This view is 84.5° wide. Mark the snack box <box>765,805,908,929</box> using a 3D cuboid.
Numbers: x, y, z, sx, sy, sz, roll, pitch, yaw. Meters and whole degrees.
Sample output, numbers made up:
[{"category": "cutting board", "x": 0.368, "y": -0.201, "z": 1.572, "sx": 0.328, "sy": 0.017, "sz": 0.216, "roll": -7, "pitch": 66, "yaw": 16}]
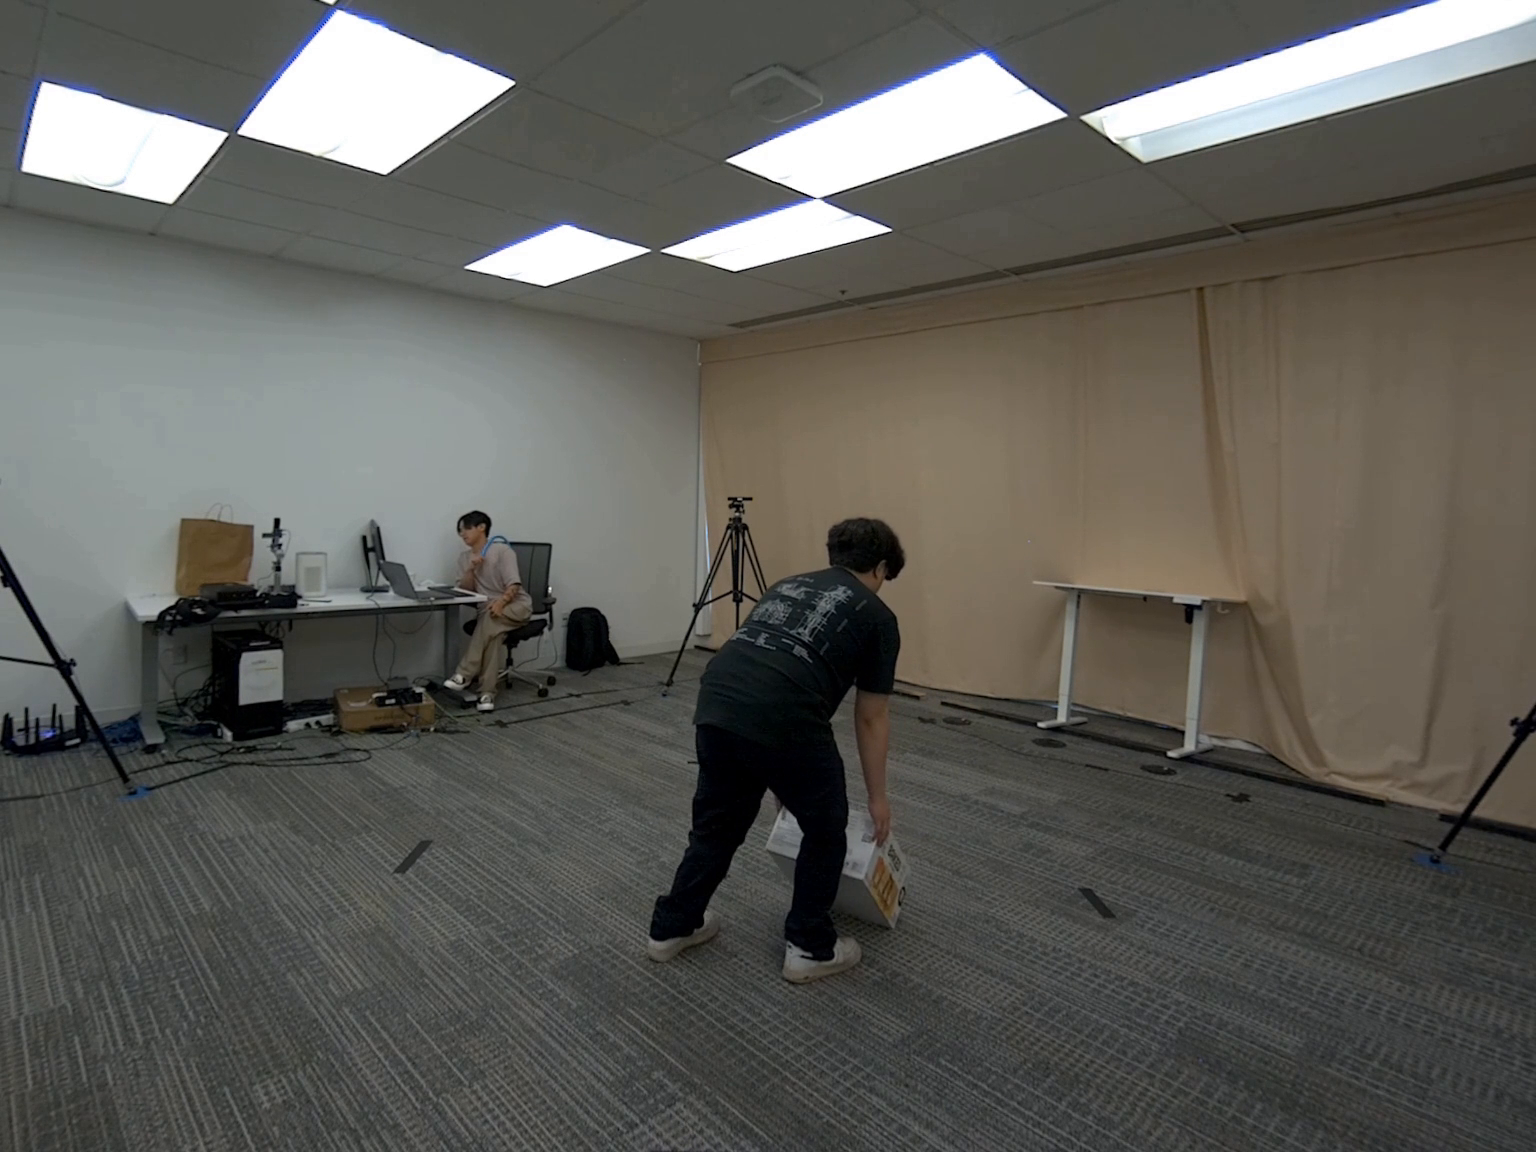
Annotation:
[{"category": "snack box", "x": 0.232, "y": 0.935, "z": 2.753, "sx": 0.348, "sy": 0.207, "sz": 0.393, "roll": 6, "pitch": -38, "yaw": 31}]
